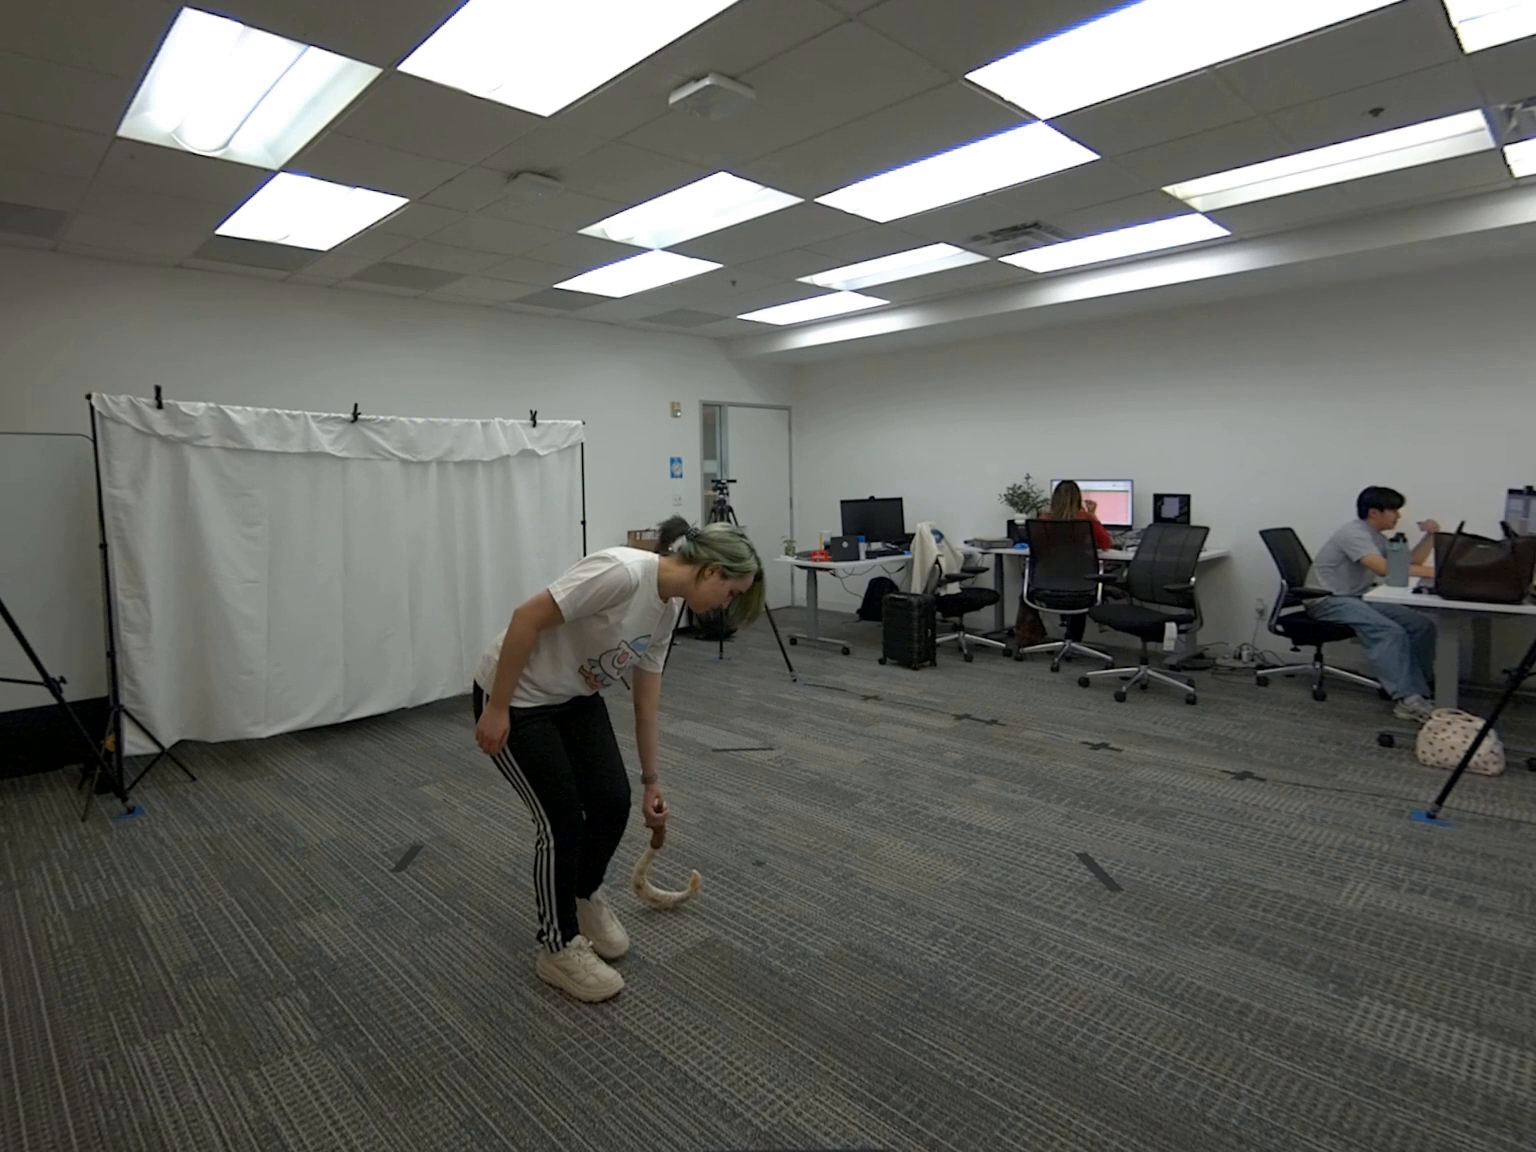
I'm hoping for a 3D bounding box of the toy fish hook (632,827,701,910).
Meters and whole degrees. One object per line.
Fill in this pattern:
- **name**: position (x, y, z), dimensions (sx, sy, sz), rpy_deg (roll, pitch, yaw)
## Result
- **toy fish hook**: position (-0.307, 0.878, 2.675), dimensions (0.223, 0.496, 0.049), rpy_deg (6, 34, -5)
